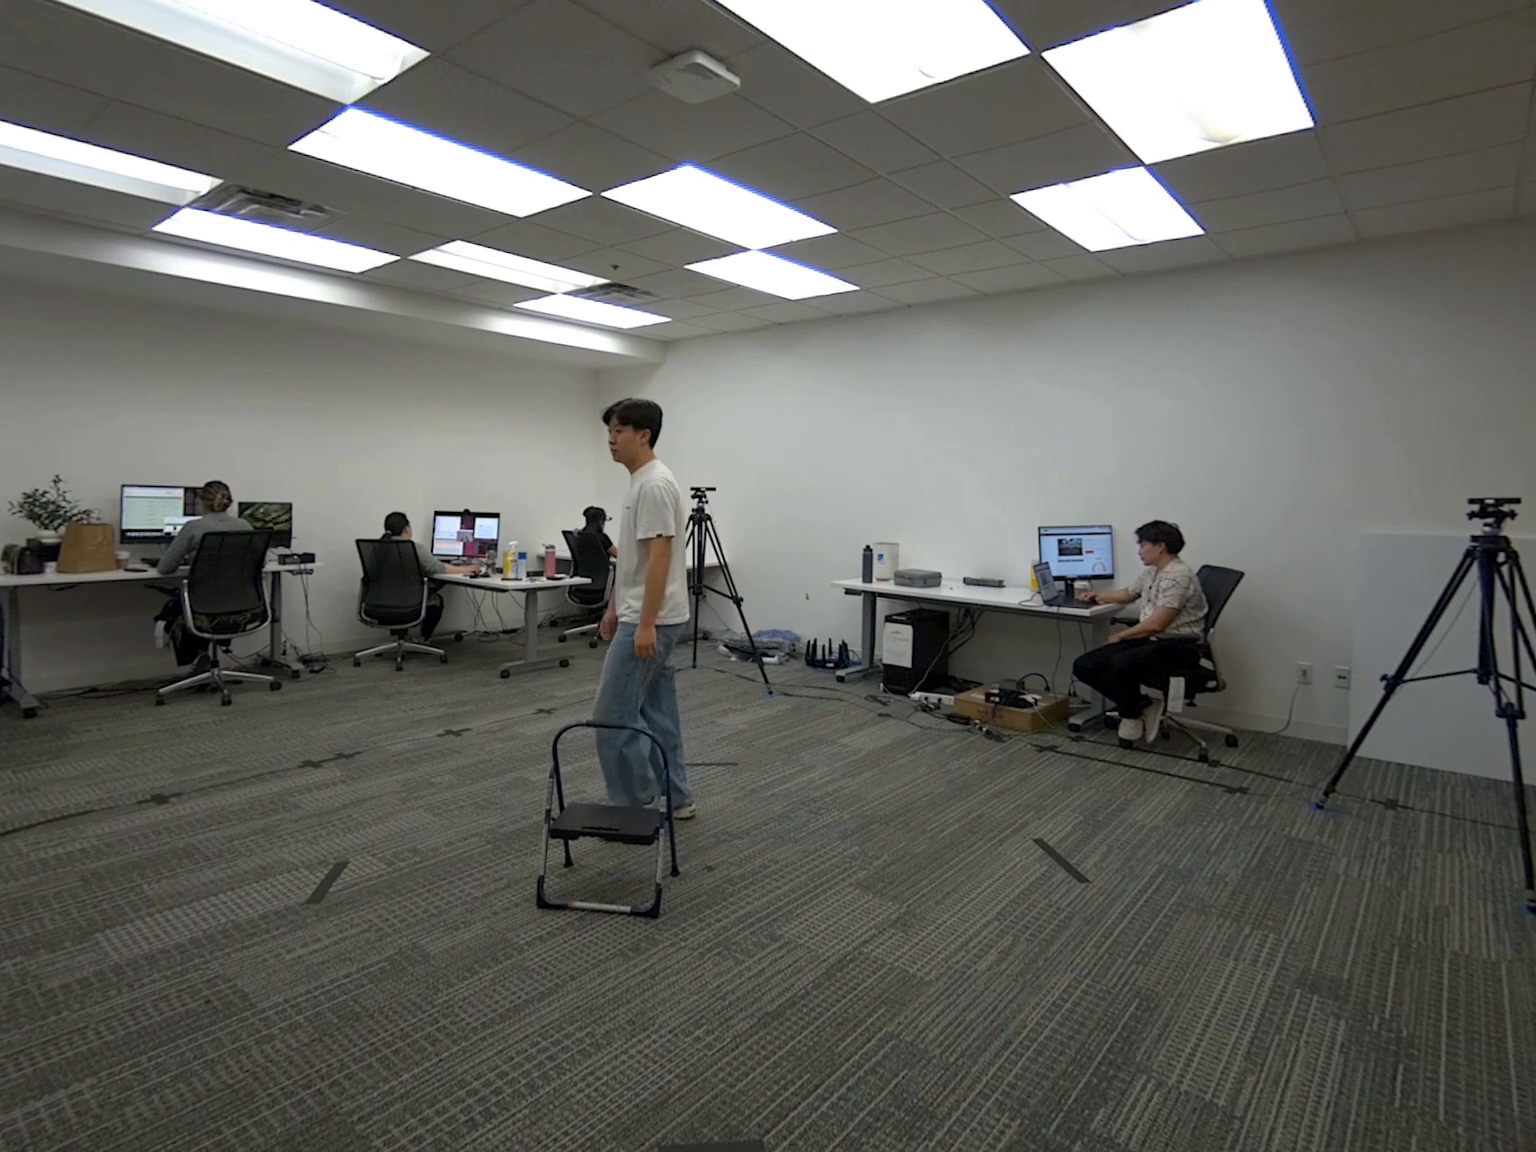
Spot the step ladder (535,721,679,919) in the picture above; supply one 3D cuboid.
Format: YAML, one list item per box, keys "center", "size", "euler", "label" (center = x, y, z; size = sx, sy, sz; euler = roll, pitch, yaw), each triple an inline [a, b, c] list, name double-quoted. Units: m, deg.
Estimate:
- center: [-0.552, 0.775, 2.913]
  size: [0.434, 0.604, 0.348]
  euler: [1, 3, 6]
  label: "step ladder"
